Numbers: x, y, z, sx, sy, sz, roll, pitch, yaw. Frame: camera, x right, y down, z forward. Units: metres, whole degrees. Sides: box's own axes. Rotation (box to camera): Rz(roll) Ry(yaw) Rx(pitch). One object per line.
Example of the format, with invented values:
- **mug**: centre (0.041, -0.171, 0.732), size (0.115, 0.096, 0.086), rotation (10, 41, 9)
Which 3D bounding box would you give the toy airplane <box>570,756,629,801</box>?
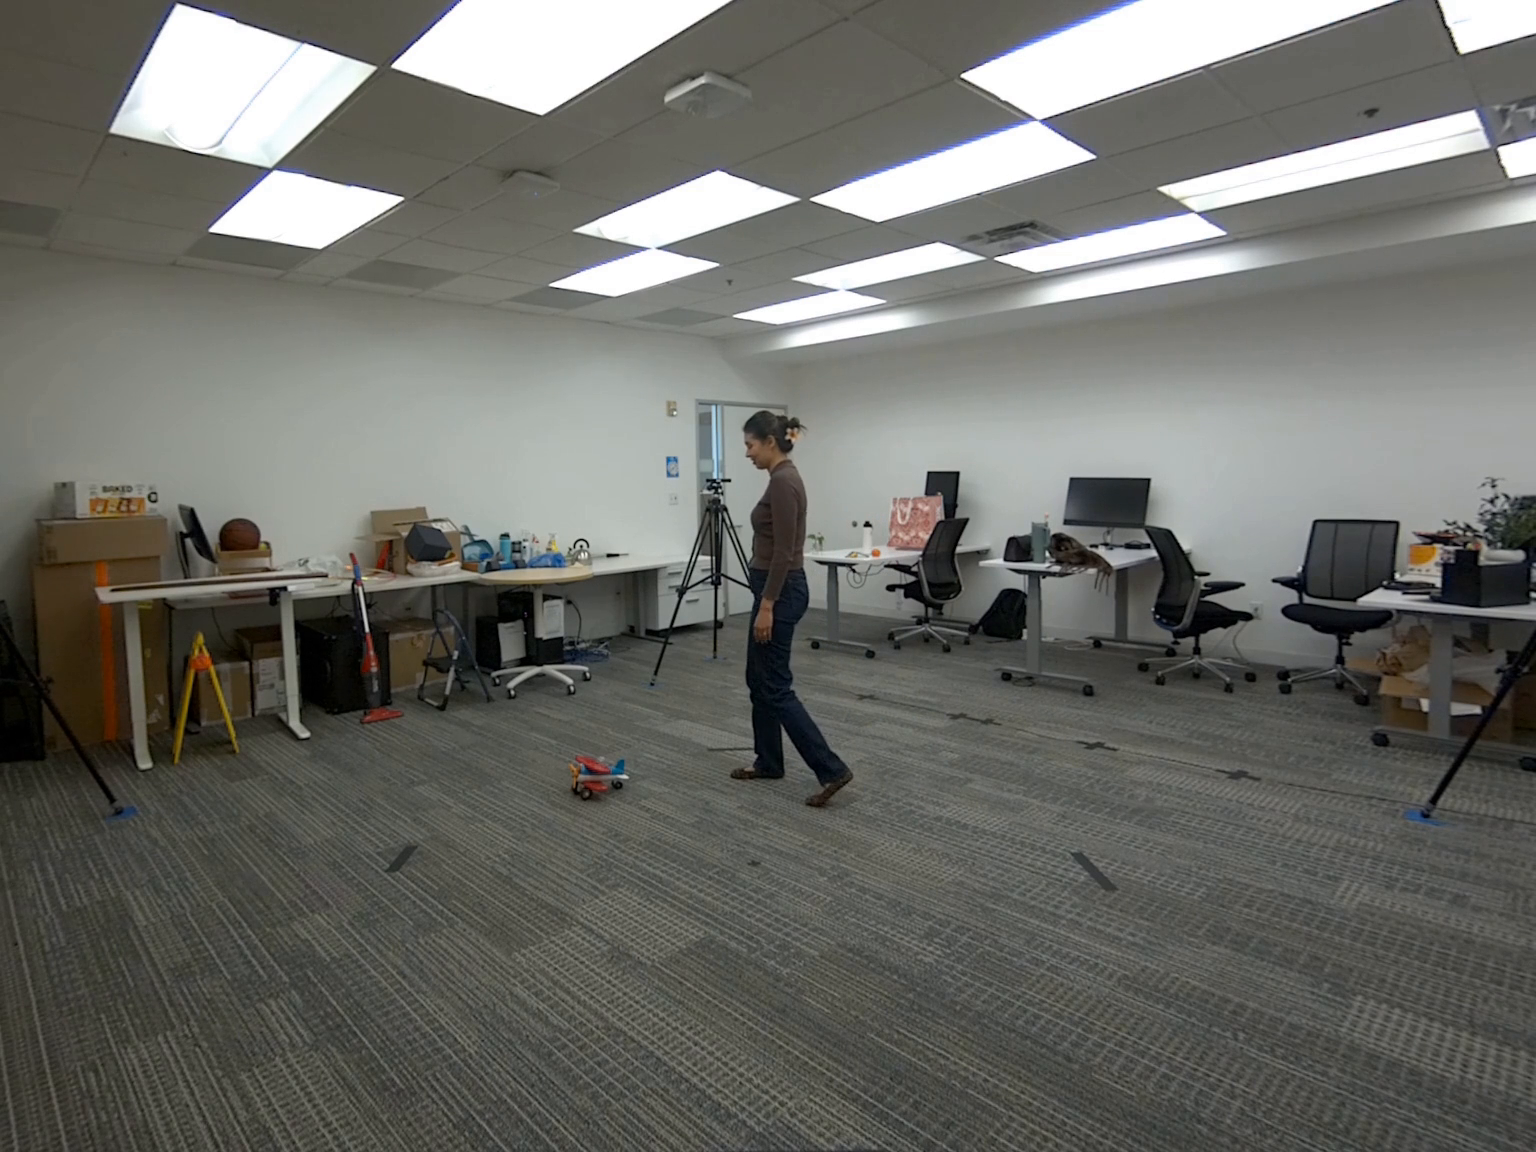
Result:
- **toy airplane**: centre (-0.776, 0.901, 3.862), size (0.257, 0.156, 0.254), rotation (1, 7, 26)
